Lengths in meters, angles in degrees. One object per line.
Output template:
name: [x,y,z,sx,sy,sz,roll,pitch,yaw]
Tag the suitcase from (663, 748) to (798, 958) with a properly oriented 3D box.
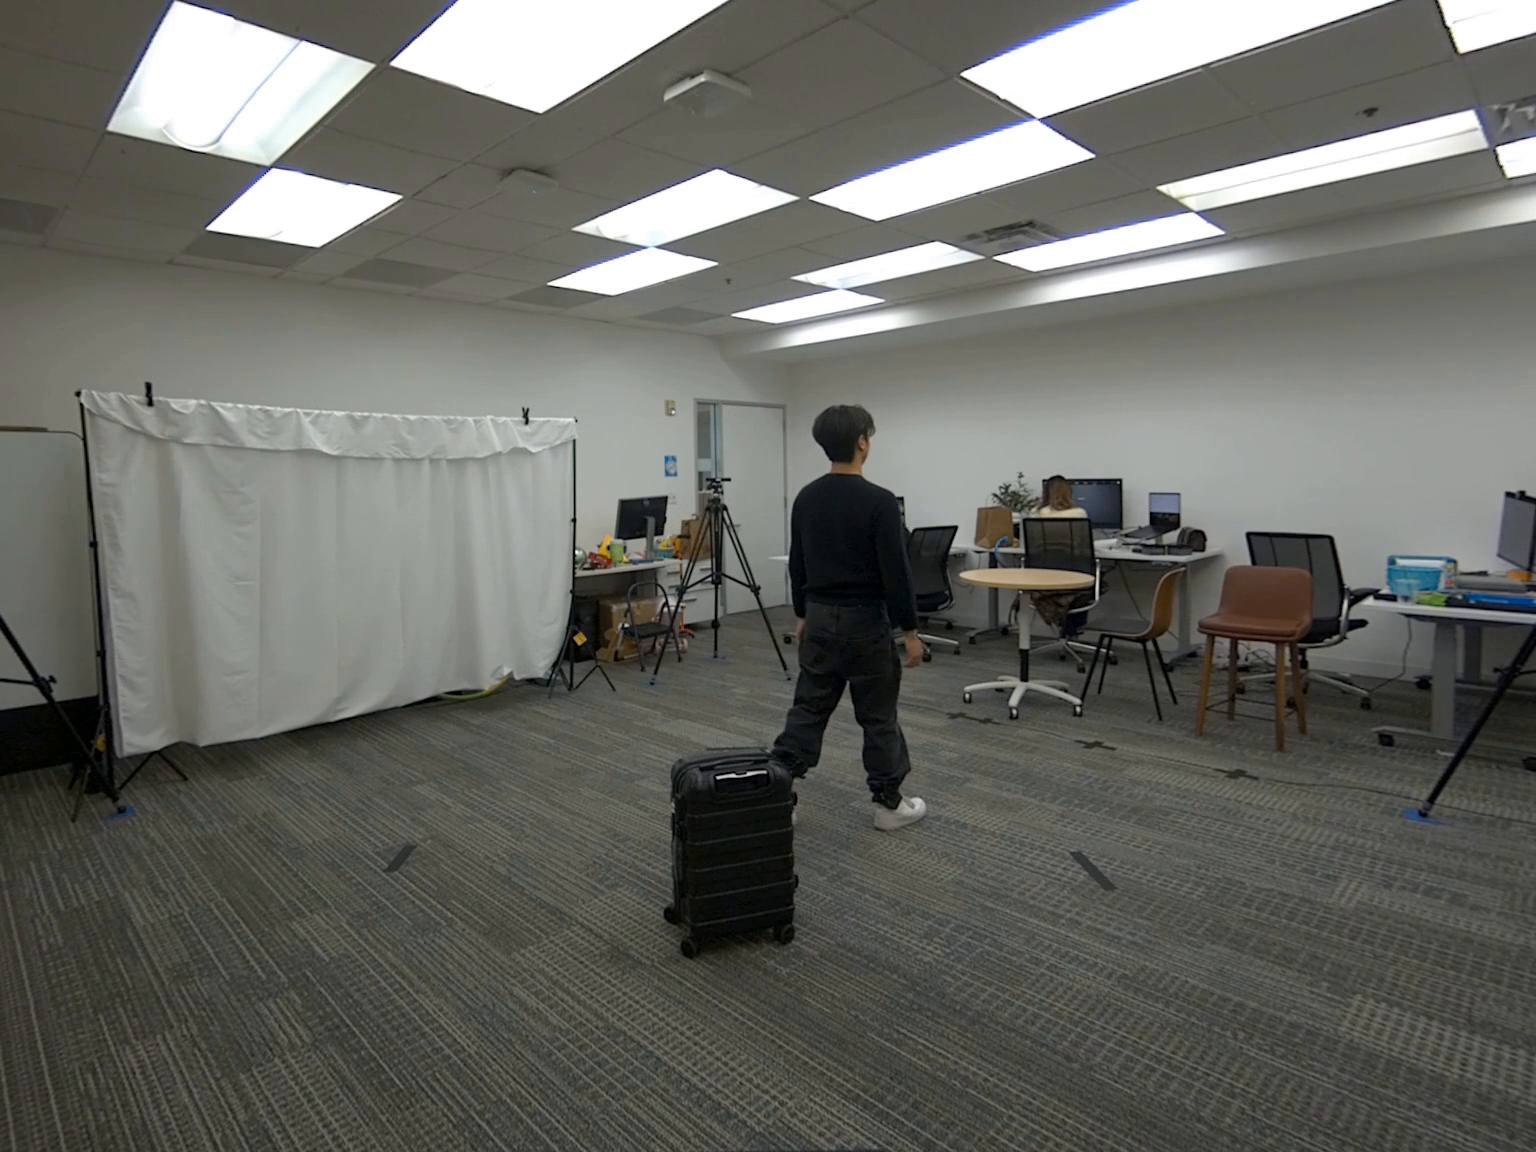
suitcase: [-0.113,0.822,2.628,0.369,0.548,0.253,-2,3,-18]
